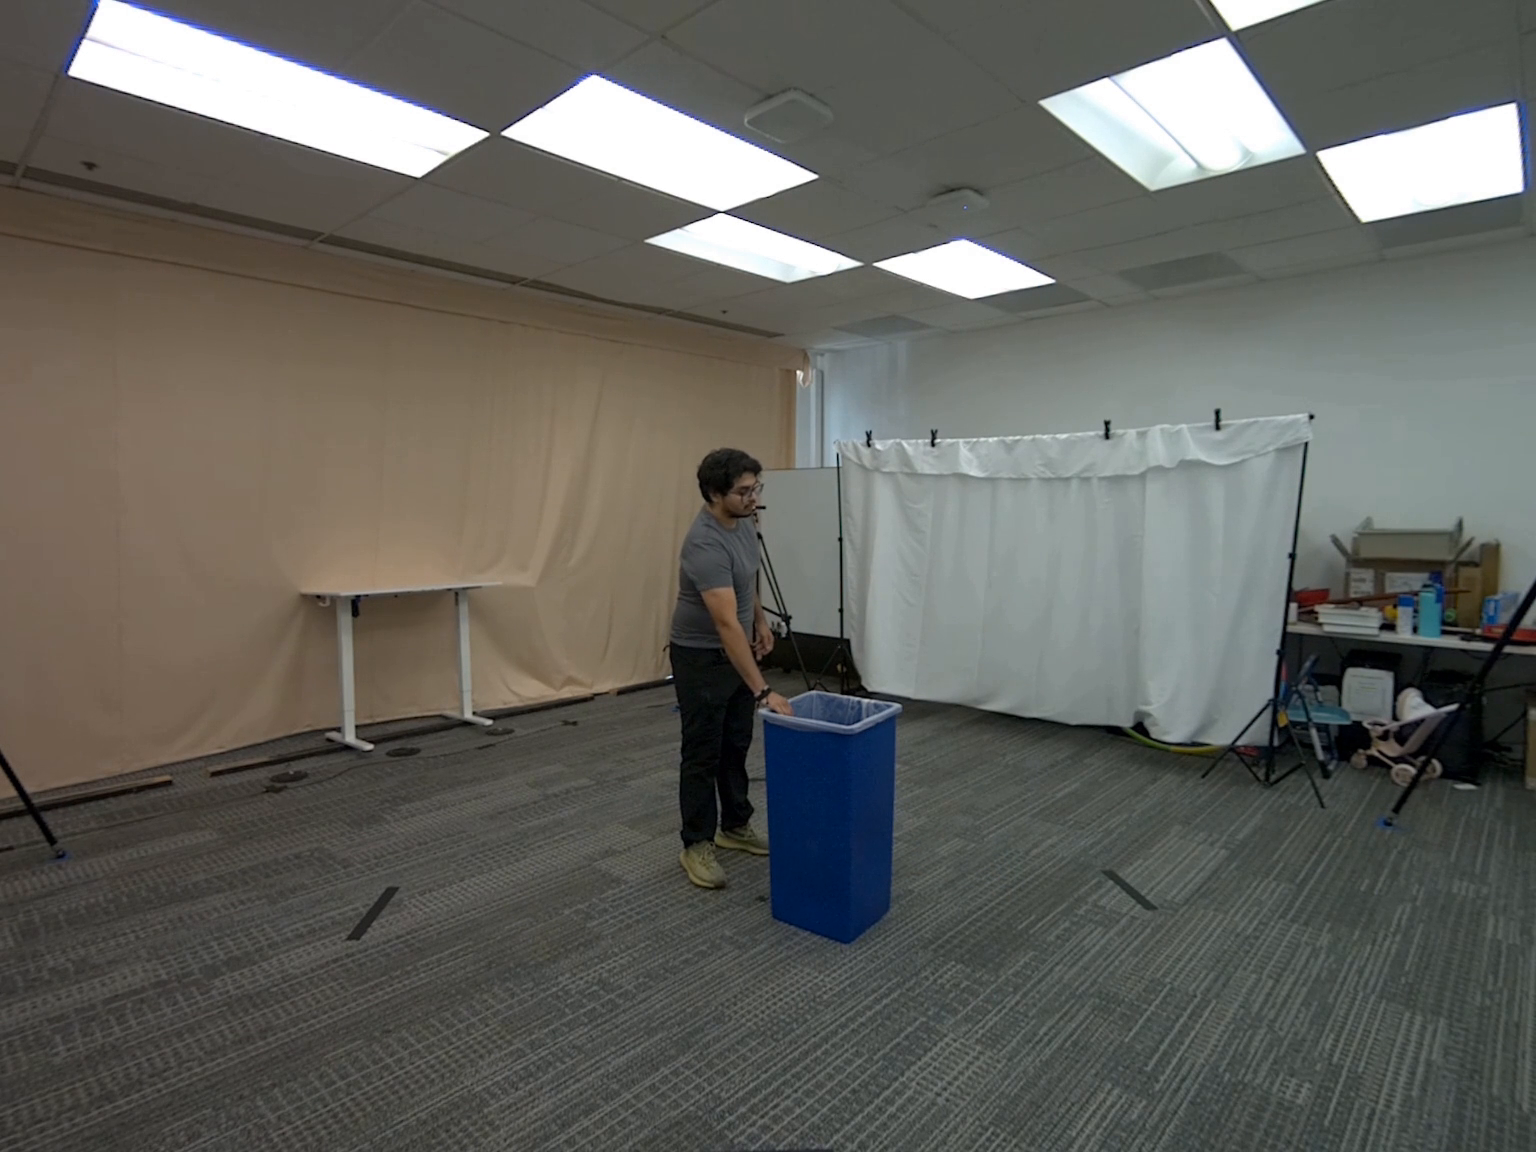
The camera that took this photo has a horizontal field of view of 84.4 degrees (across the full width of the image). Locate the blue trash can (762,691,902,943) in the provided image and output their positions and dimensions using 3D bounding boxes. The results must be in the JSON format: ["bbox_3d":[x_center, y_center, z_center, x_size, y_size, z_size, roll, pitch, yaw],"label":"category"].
[{"bbox_3d":[0.216,0.796,2.844,0.390,0.712,0.363,2,4,37],"label":"blue trash can"}]
